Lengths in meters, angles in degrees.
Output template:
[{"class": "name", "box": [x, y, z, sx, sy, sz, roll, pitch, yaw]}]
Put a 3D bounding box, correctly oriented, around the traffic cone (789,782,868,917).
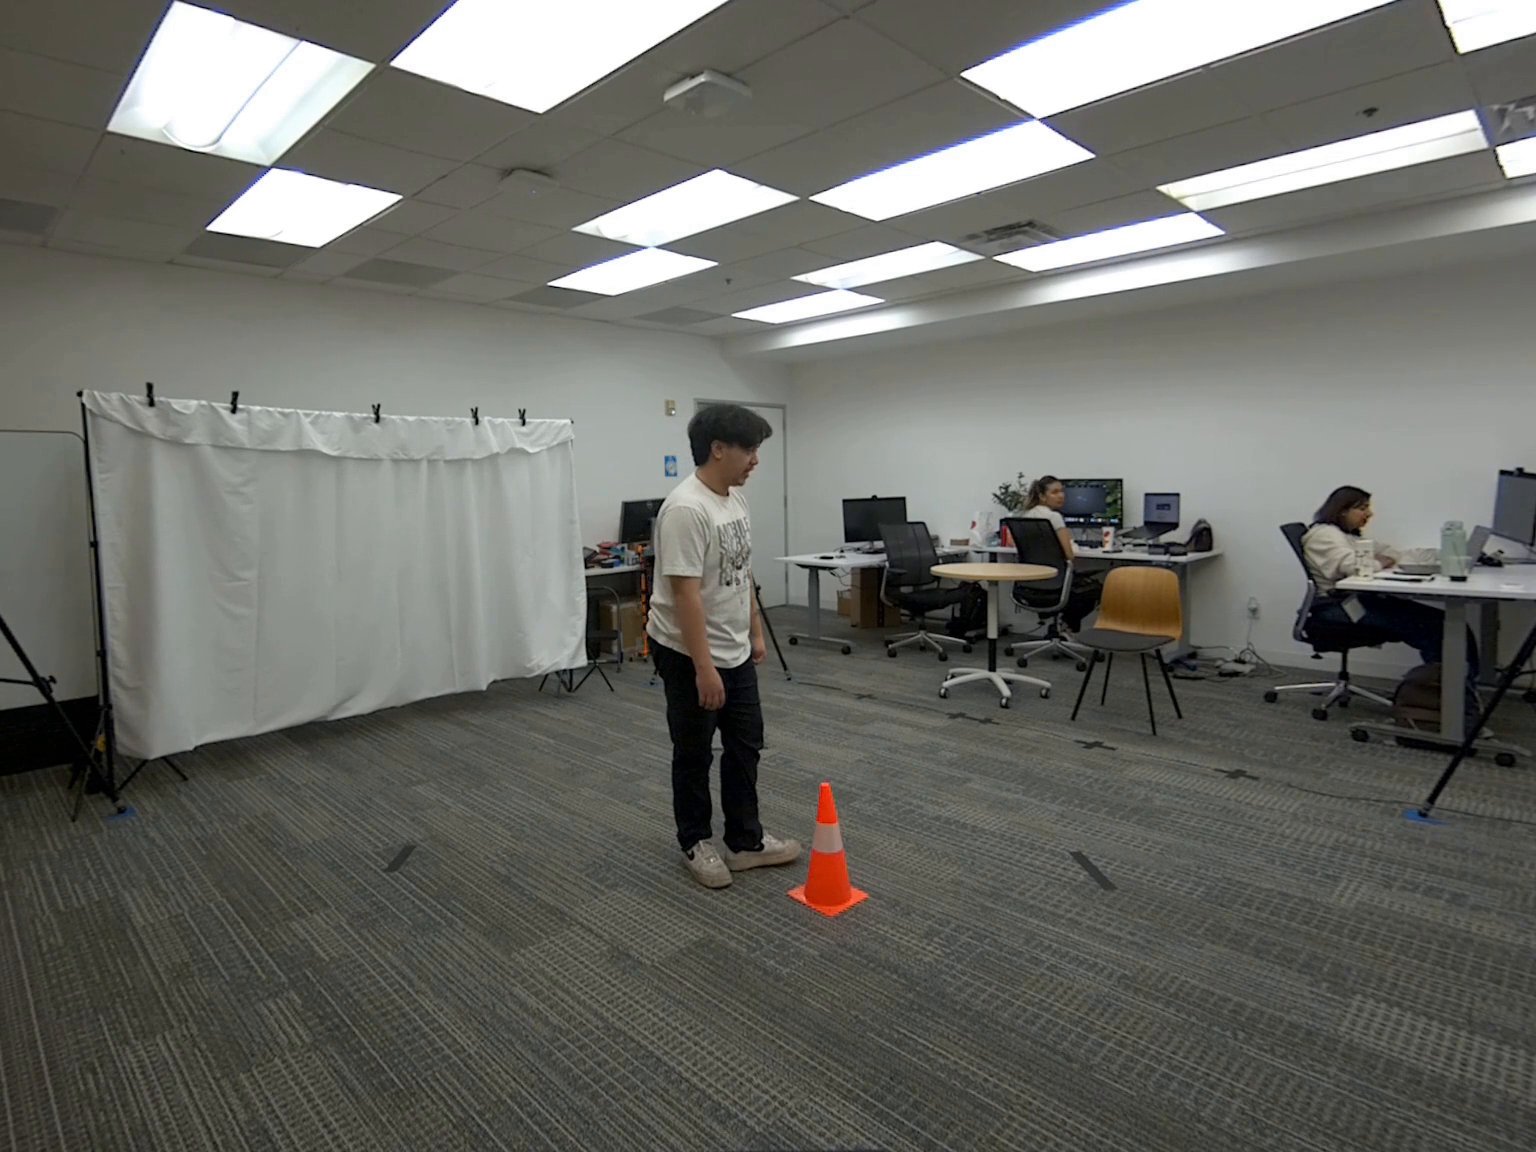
[{"class": "traffic cone", "box": [0.203, 0.878, 2.843, 0.198, 0.382, 0.211, -4, 4, -40]}]
